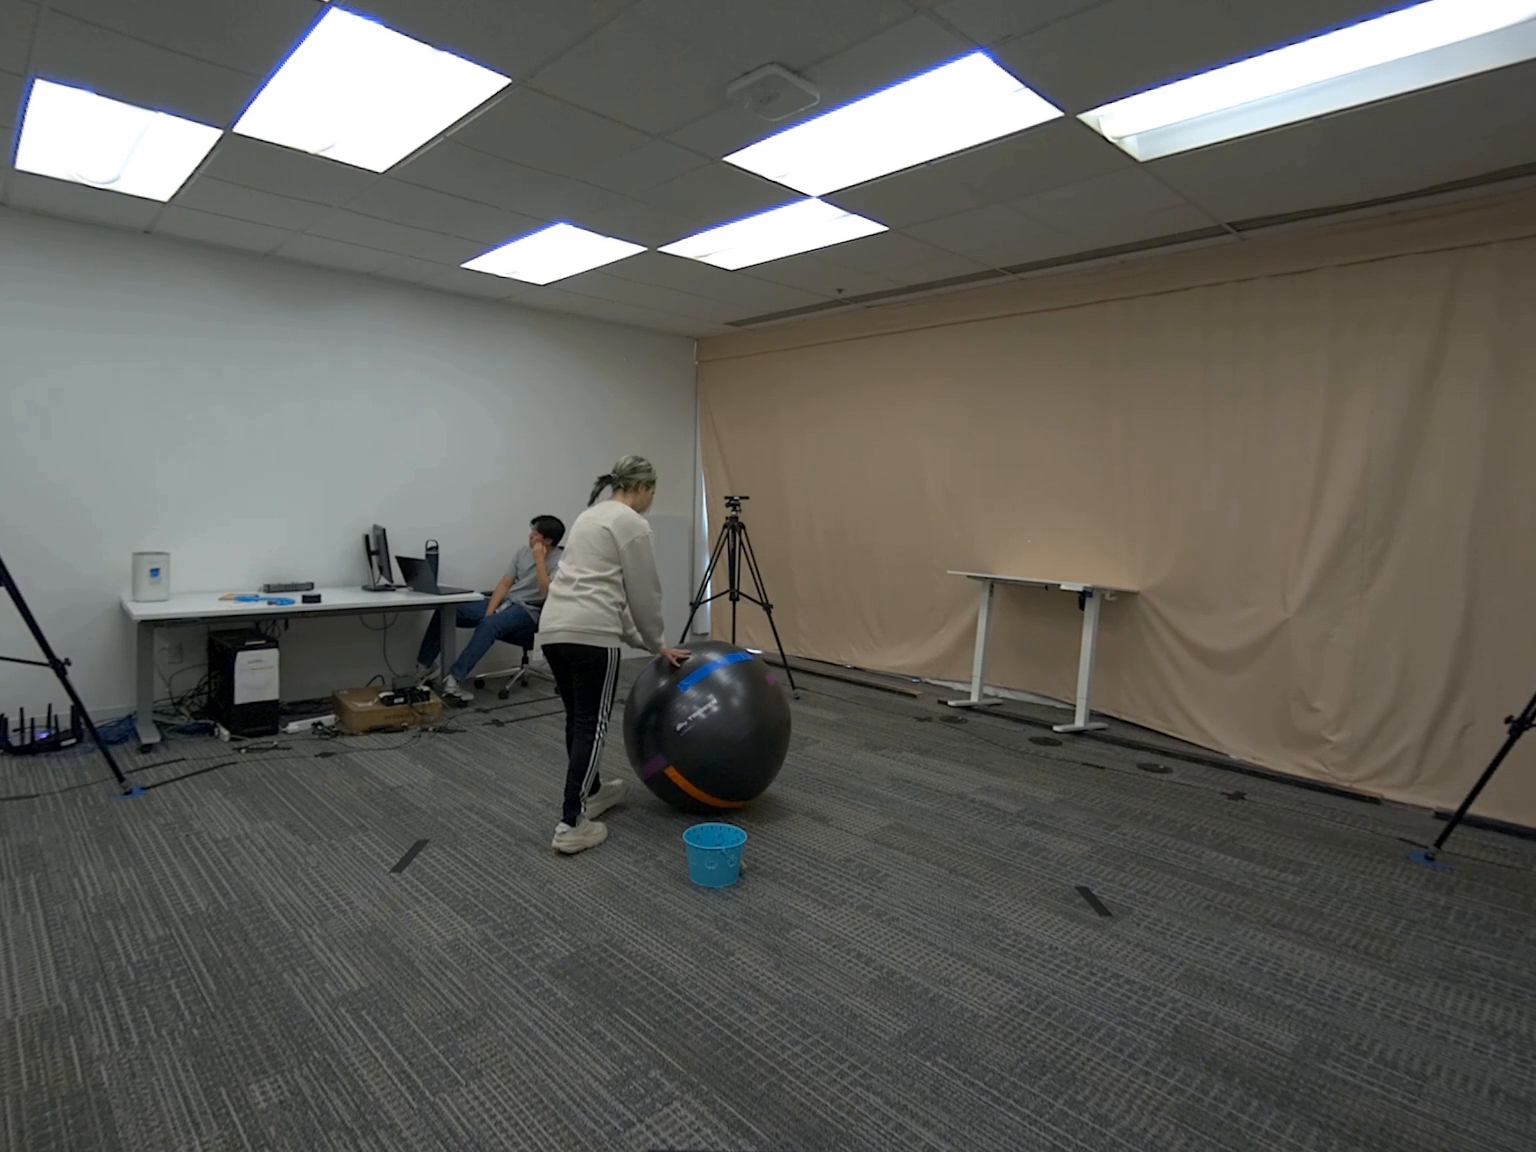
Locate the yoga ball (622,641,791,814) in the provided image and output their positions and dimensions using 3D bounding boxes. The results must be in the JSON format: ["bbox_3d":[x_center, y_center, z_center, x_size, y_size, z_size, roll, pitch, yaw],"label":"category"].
[{"bbox_3d":[-0.279,0.667,3.786,0.757,0.756,0.761,1,4,-1],"label":"yoga ball"}]
